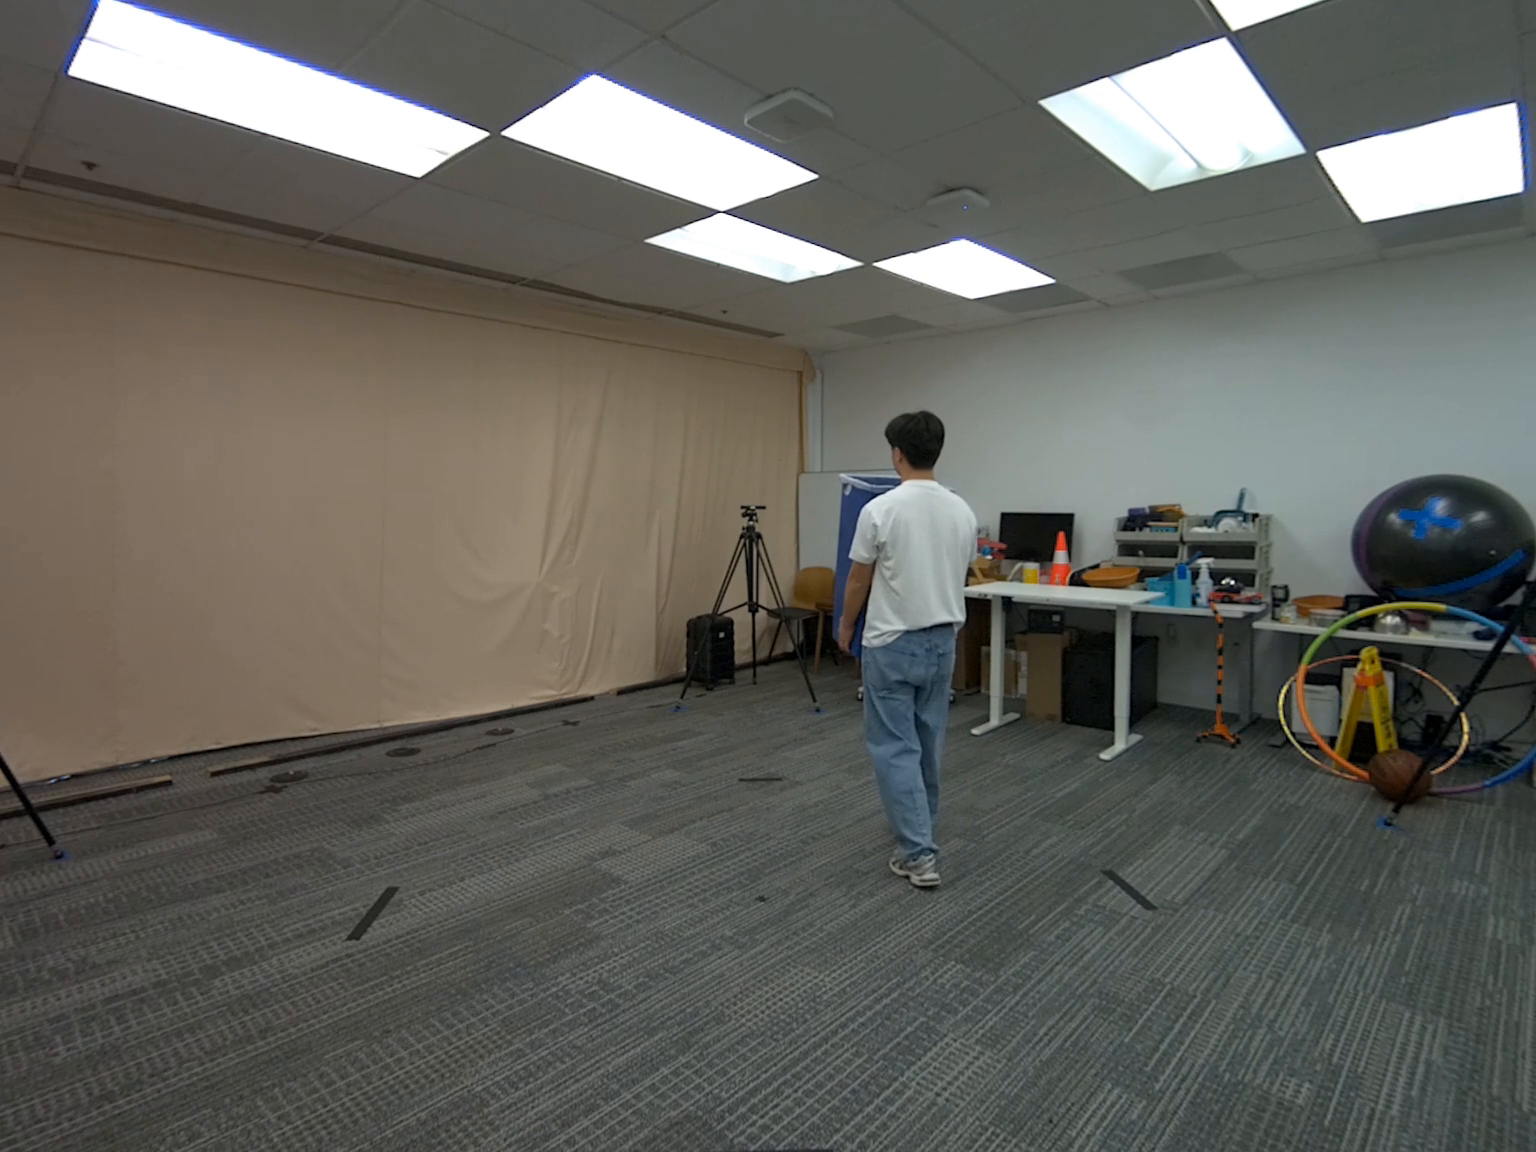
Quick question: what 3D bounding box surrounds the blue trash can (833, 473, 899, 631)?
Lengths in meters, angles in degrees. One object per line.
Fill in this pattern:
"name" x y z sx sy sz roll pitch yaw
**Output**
"blue trash can" 0.507 -0.053 3.528 0.369 0.708 0.386 0 13 -13
